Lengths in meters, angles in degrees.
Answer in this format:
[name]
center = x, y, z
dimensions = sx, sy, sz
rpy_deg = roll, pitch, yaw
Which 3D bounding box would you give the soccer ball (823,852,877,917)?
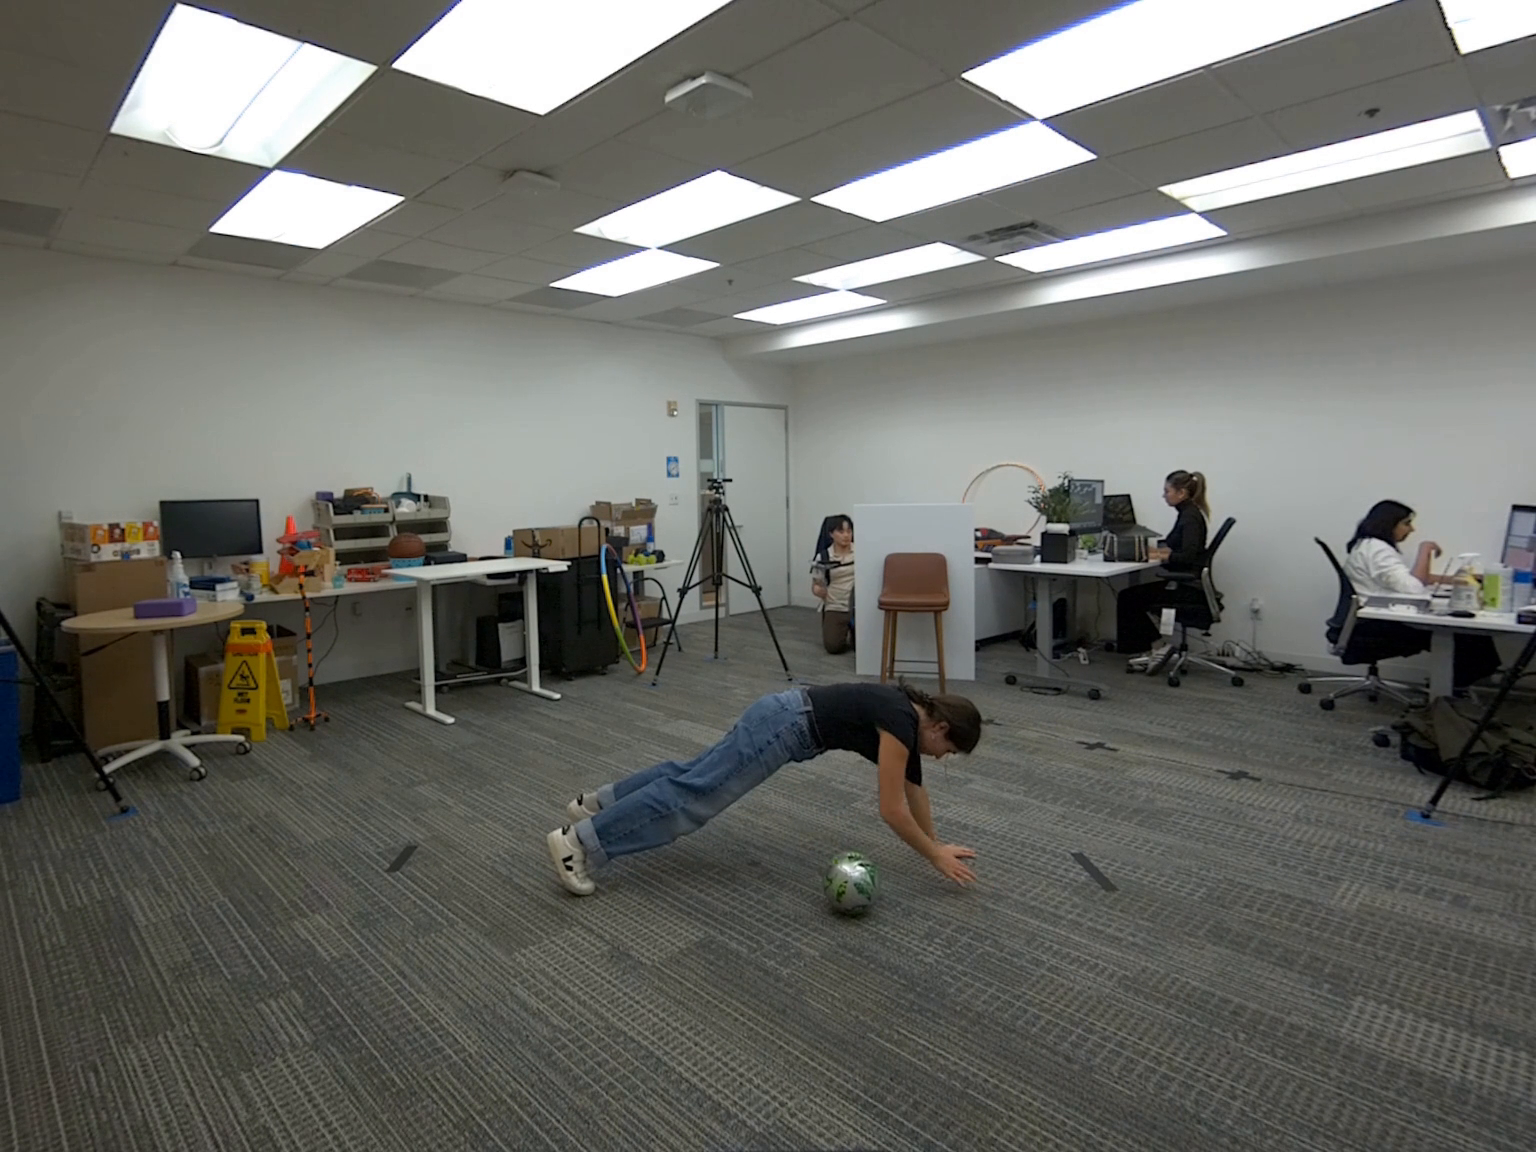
[soccer ball]
center = 0.274, 0.992, 2.753
dimensions = 0.187, 0.187, 0.188
rpy_deg = -1, 5, -2
